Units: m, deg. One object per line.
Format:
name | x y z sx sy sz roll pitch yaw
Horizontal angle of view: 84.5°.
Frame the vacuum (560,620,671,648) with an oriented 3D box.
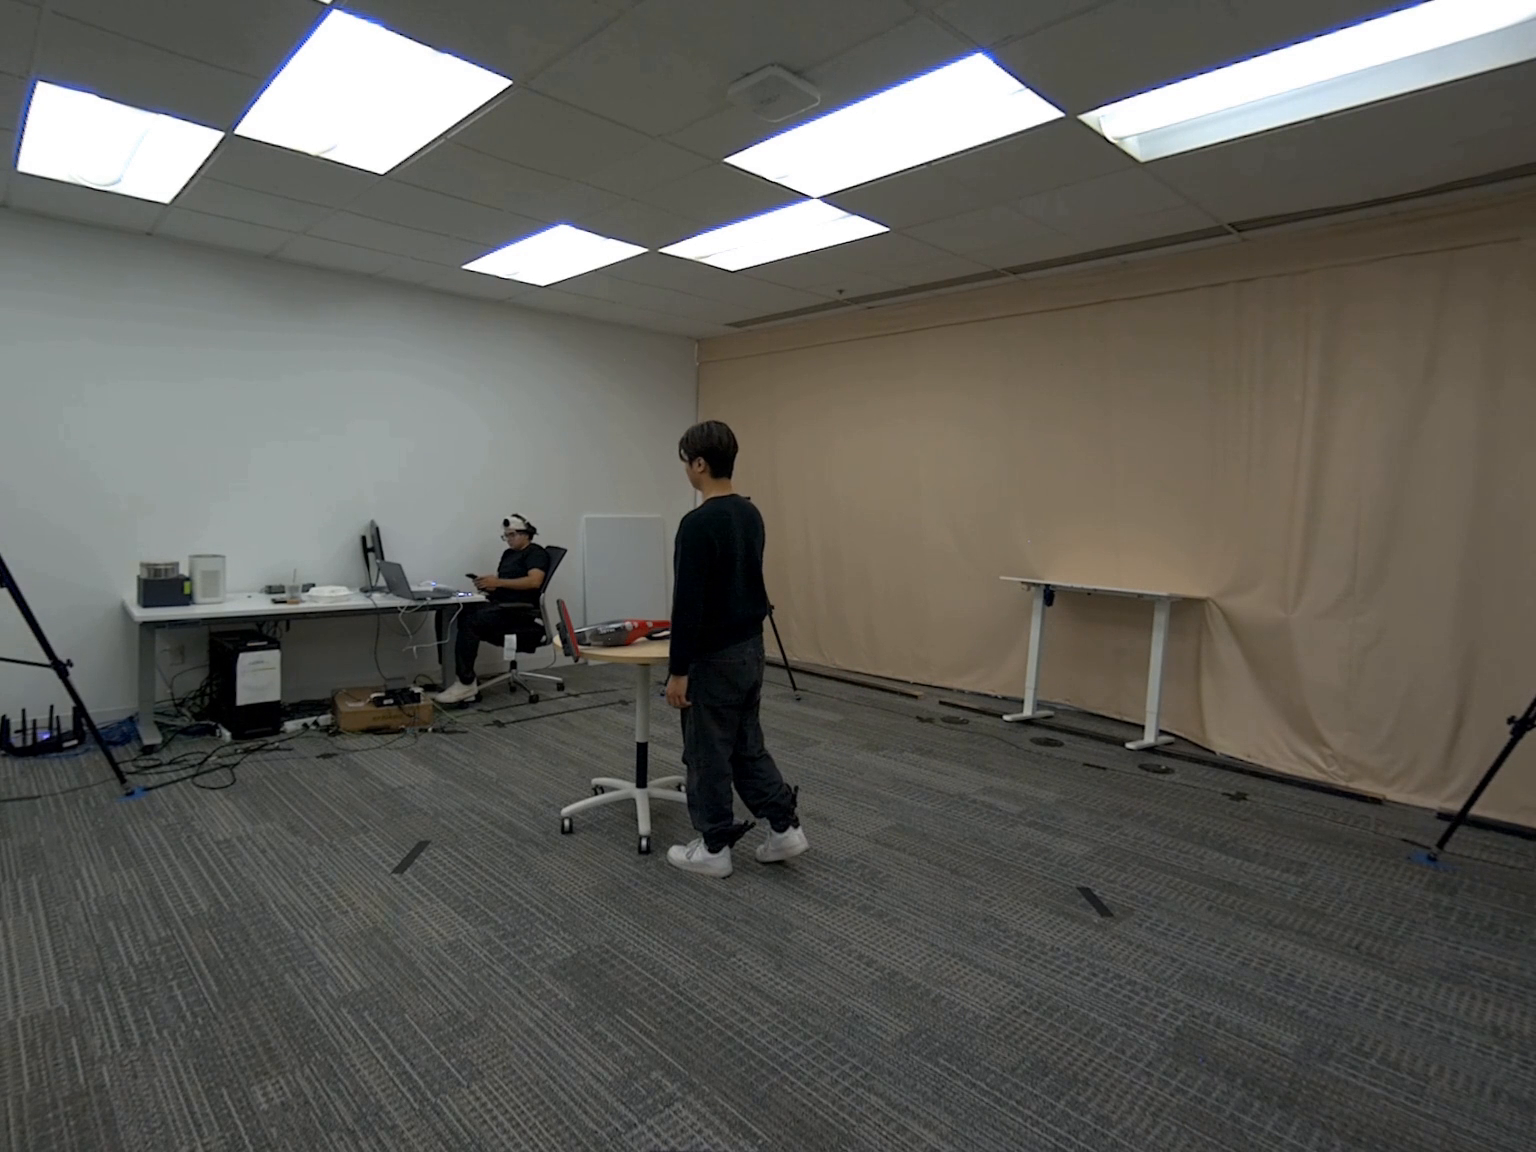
vacuum | -0.436 0.233 3.604 1.024 0.258 0.144 1 -32 -47
